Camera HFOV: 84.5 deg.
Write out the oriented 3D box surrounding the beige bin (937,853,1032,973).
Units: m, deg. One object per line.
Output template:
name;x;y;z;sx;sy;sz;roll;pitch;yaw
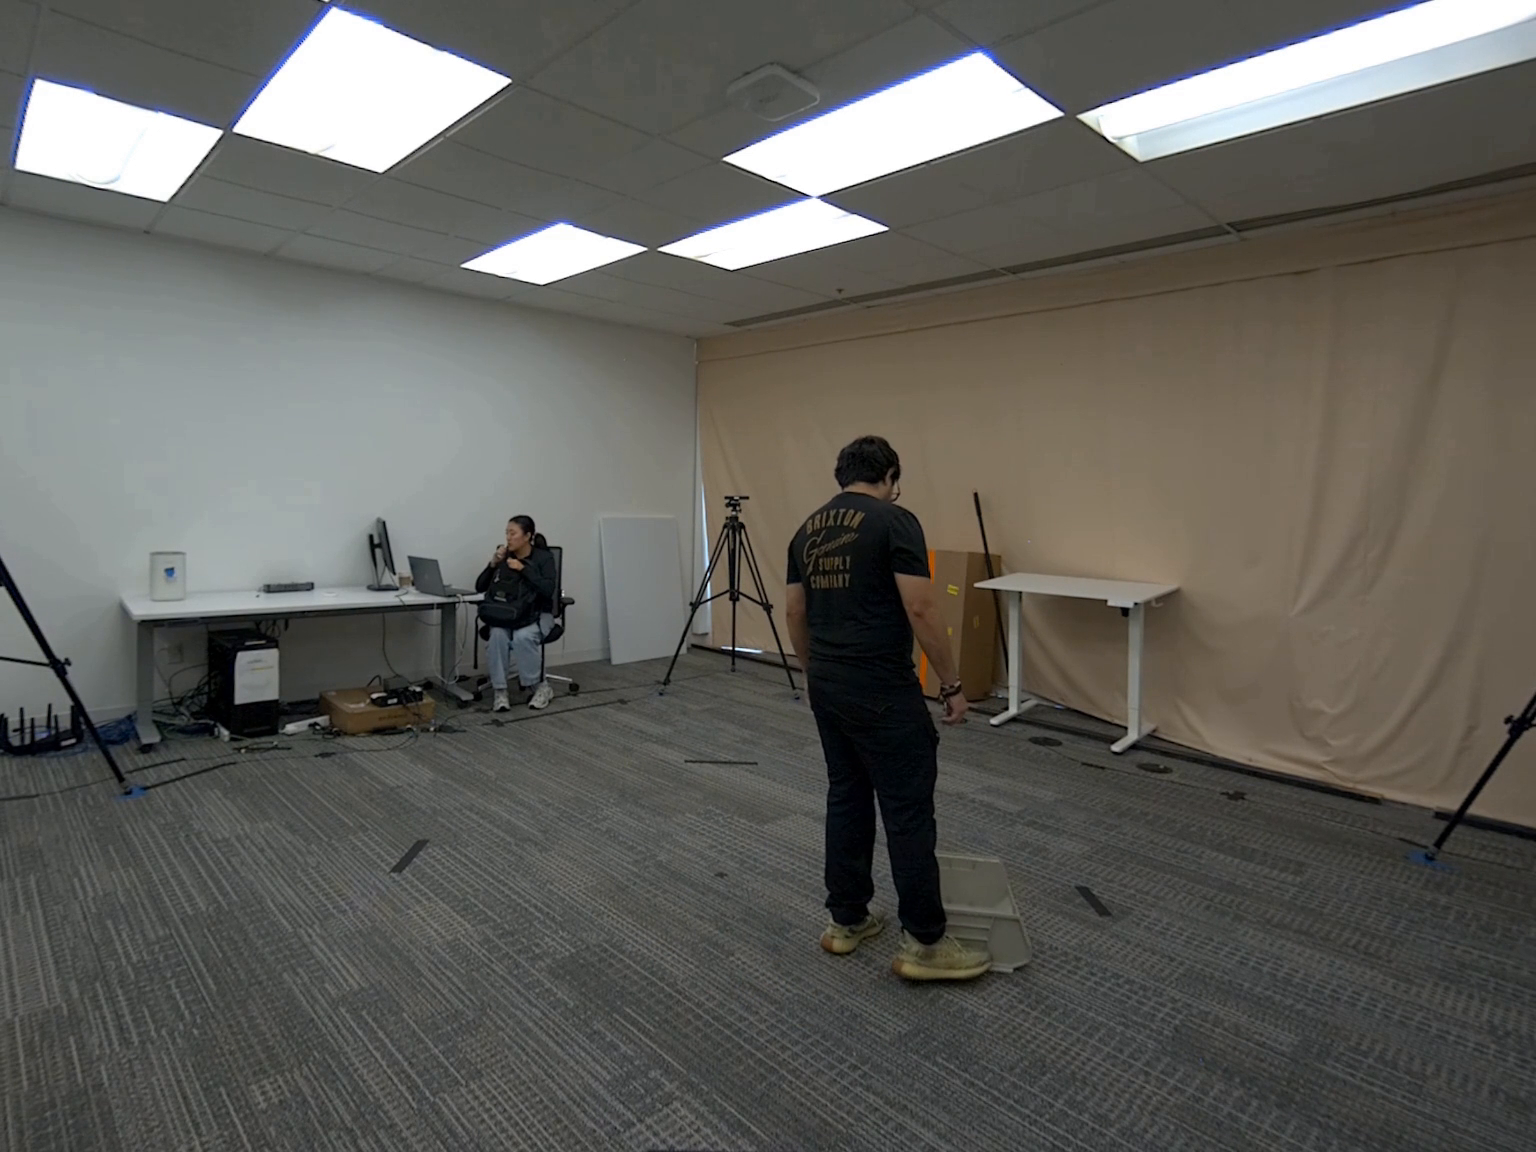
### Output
beige bin;0.622;1.076;2.717;0.380;0.188;0.420;2;5;8
